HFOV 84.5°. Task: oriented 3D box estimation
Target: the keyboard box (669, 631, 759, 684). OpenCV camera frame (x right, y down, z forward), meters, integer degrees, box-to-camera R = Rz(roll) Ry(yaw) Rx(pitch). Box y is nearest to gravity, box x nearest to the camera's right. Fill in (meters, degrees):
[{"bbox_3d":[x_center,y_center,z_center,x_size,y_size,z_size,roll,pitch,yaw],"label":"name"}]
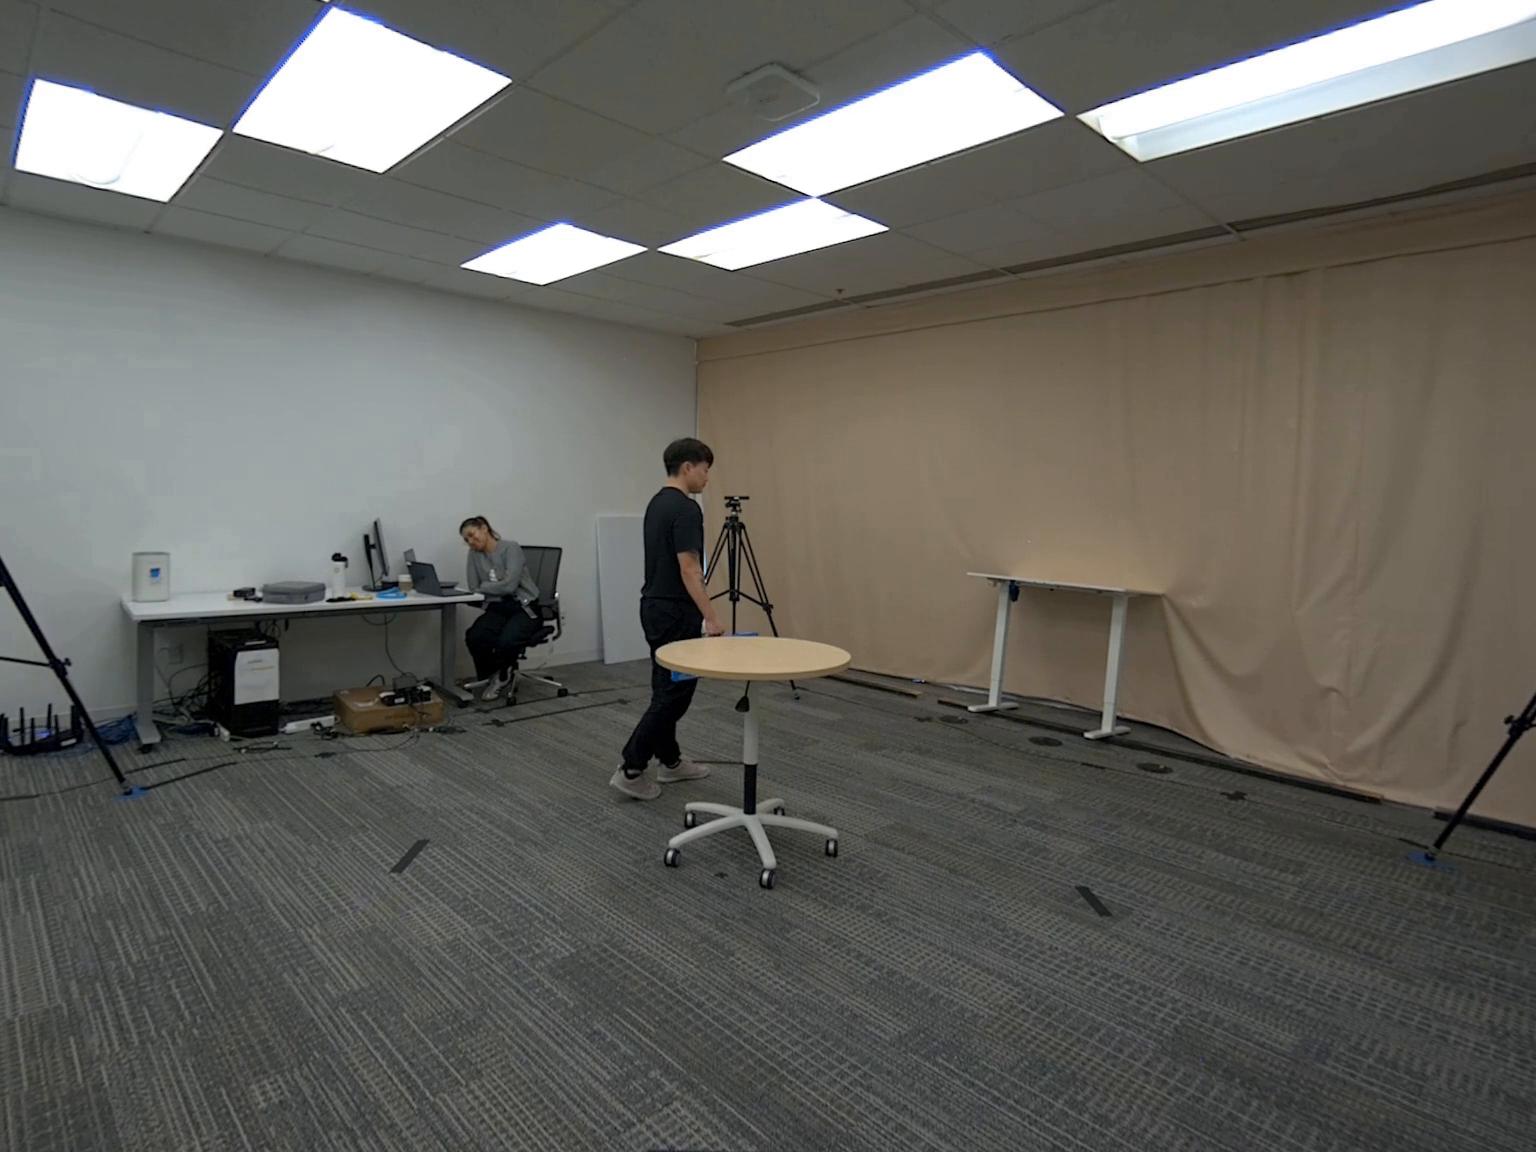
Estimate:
[{"bbox_3d":[-0.250,0.369,3.838,0.428,0.176,0.060,-5,1,-30],"label":"keyboard box"}]
